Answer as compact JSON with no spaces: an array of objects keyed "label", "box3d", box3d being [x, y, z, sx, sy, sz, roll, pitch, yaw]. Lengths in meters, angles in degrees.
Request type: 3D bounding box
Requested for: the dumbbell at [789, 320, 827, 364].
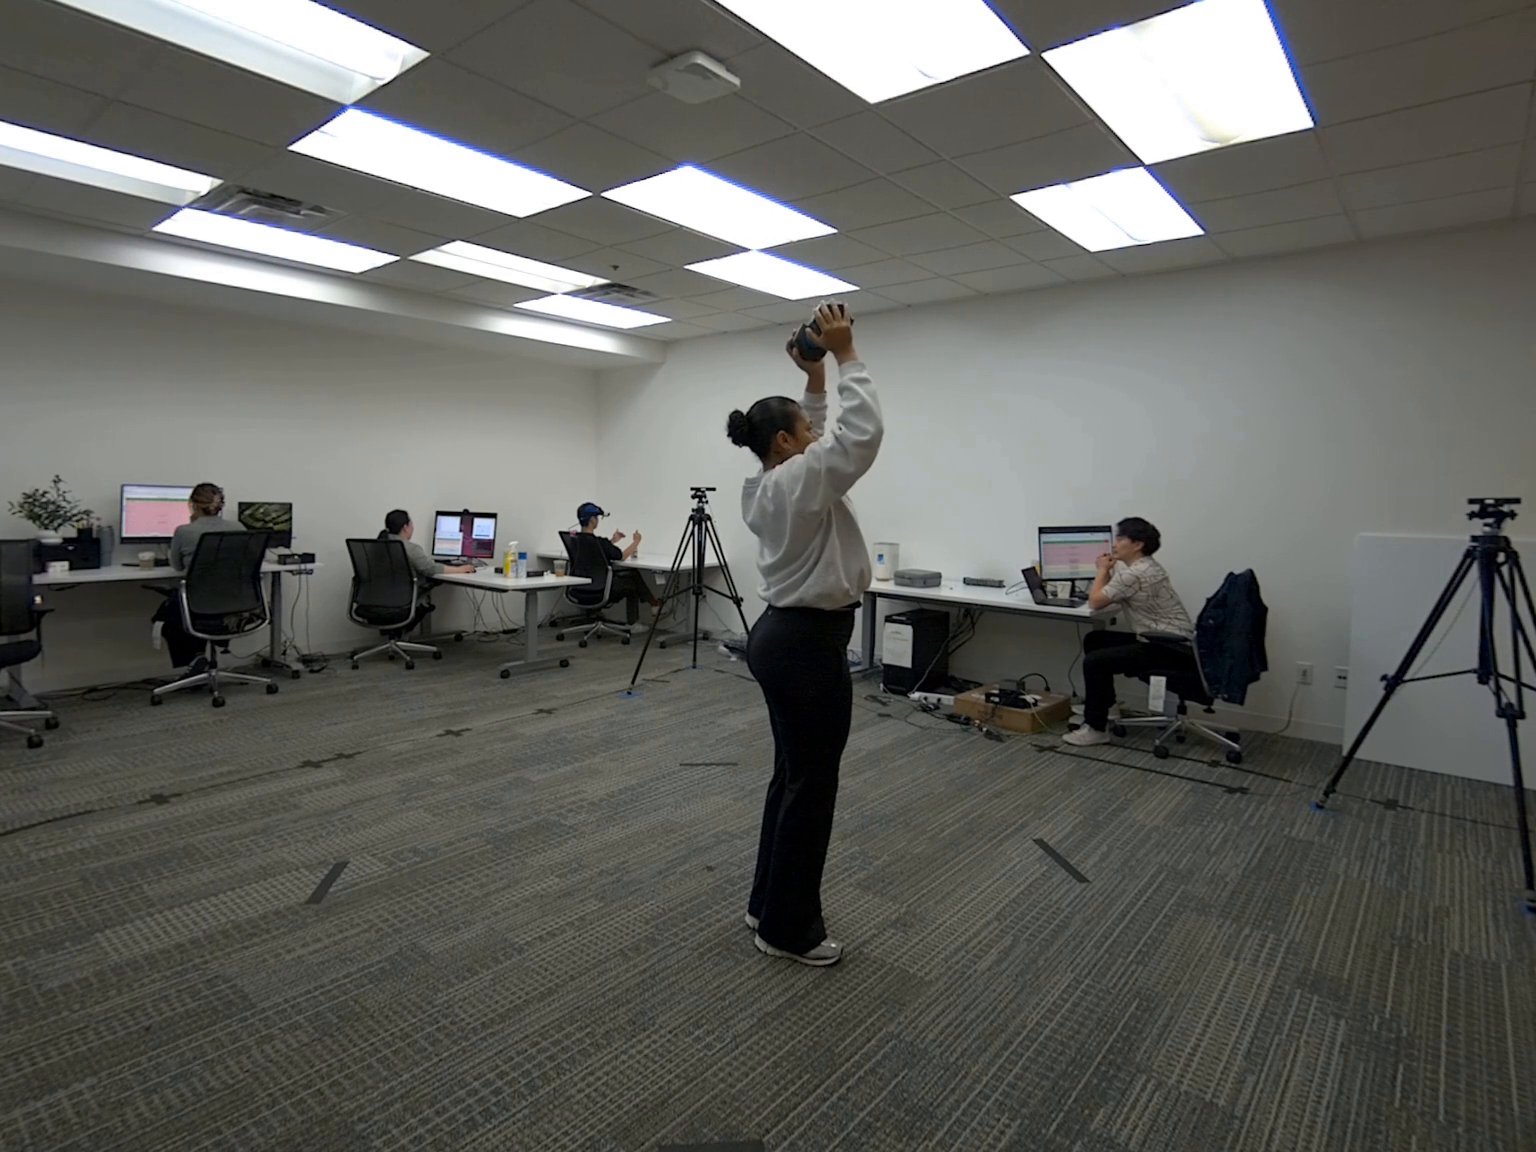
[{"label":"dumbbell","box3d":[0.147,-0.725,2.530,0.108,0.123,0.296,33,-4,-9]}]
